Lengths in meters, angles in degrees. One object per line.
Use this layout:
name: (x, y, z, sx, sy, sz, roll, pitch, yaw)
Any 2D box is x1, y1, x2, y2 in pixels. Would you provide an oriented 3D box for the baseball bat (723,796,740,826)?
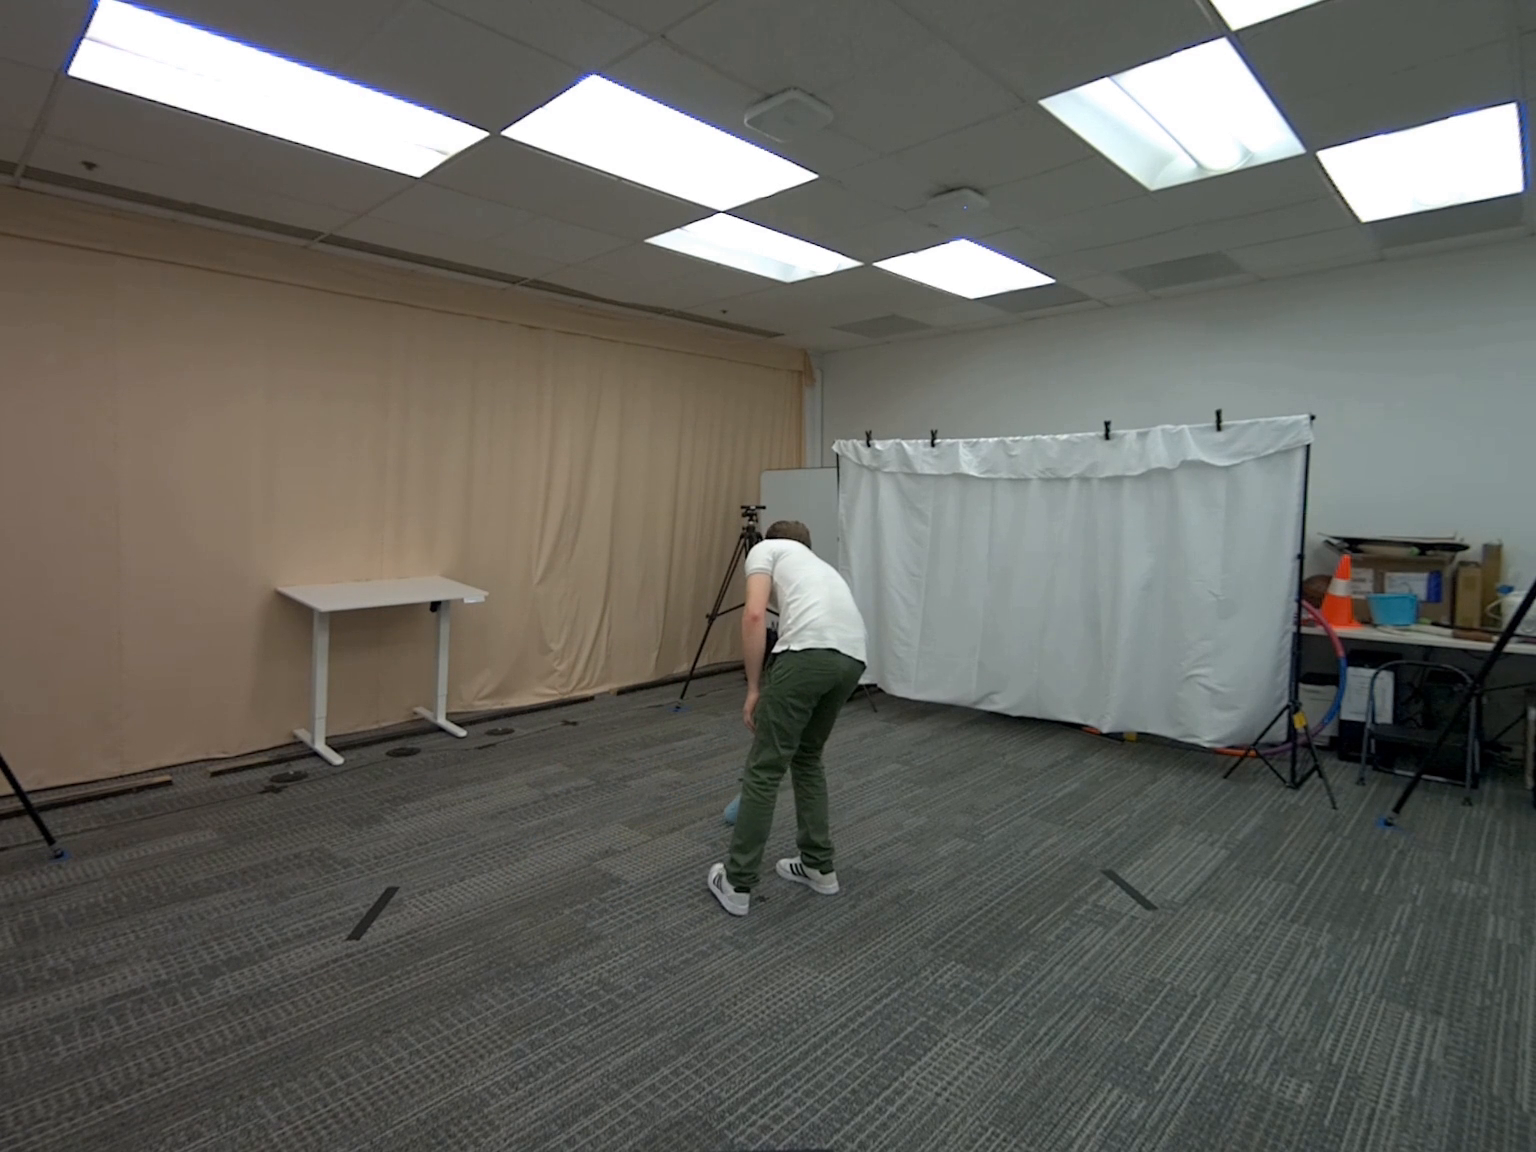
baseball bat: (-0.004, 0.881, 3.593, 0.087, 0.546, 0.090, 33, 26, -20)
